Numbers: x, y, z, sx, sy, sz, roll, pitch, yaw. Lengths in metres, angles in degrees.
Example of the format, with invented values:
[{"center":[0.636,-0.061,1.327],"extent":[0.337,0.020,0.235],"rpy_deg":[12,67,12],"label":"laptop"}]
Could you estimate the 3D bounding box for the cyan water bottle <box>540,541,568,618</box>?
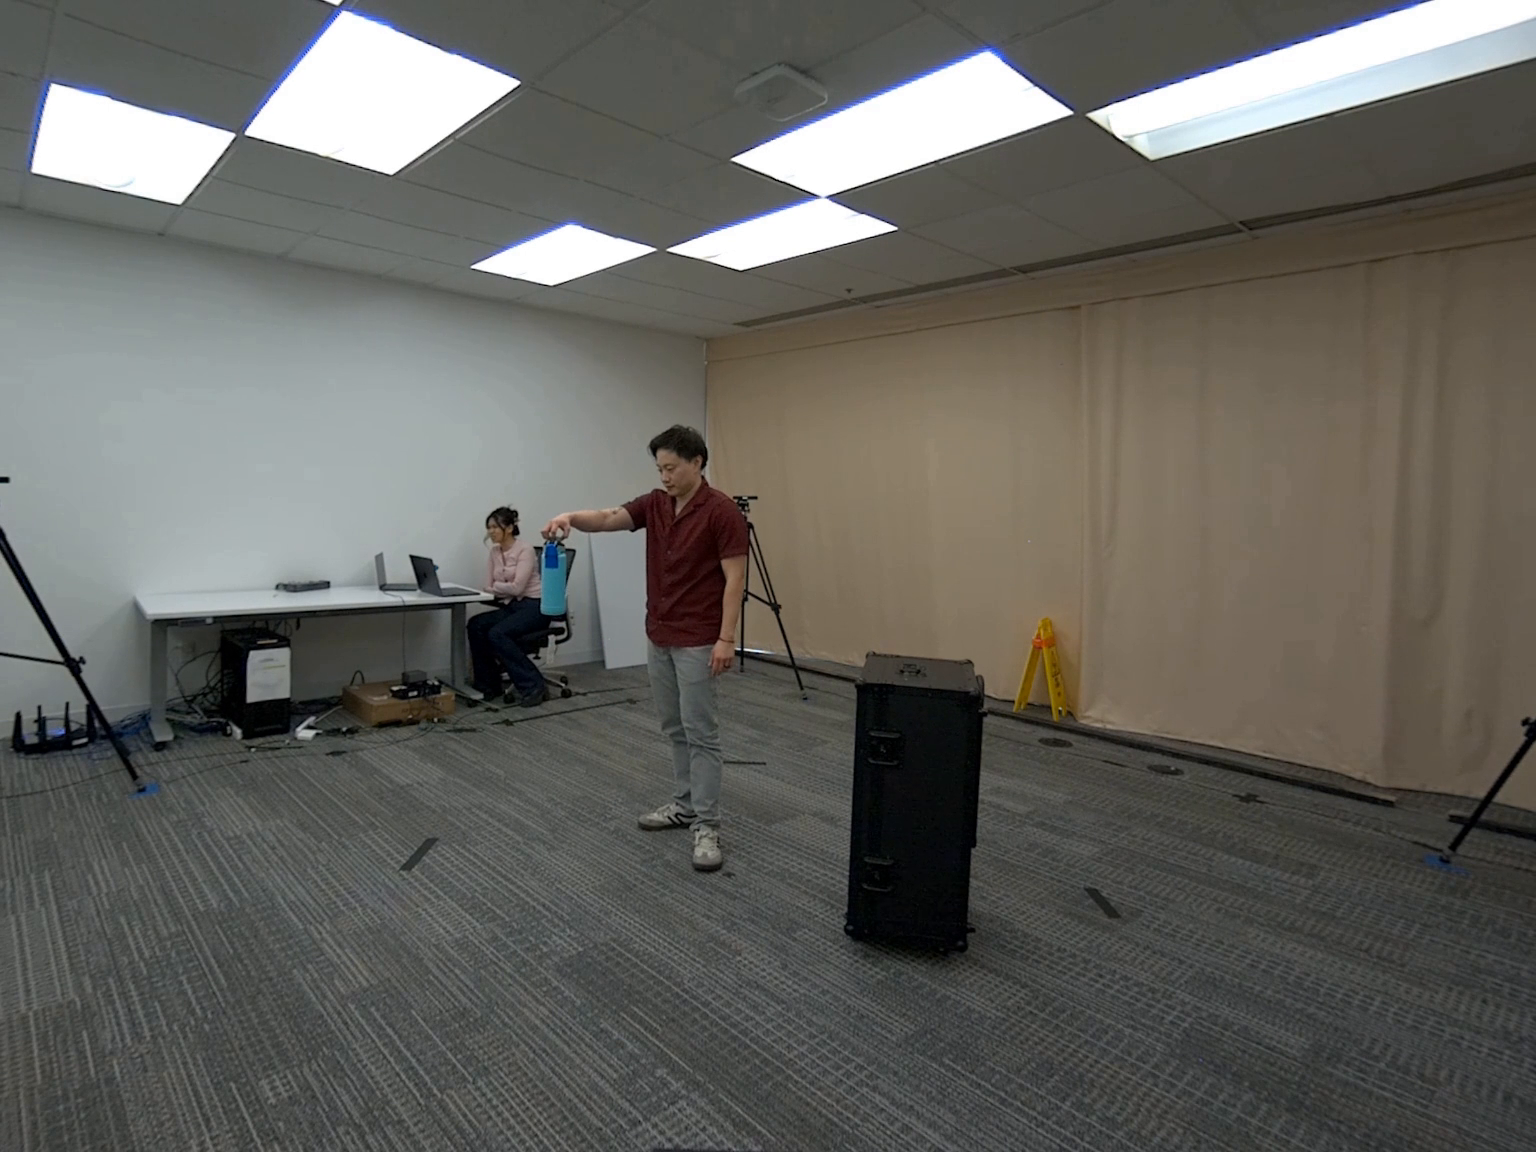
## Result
[{"center":[-0.797,0.000,3.108],"extent":[0.092,0.282,0.093],"rpy_deg":[3,8,-2],"label":"cyan water bottle"}]
